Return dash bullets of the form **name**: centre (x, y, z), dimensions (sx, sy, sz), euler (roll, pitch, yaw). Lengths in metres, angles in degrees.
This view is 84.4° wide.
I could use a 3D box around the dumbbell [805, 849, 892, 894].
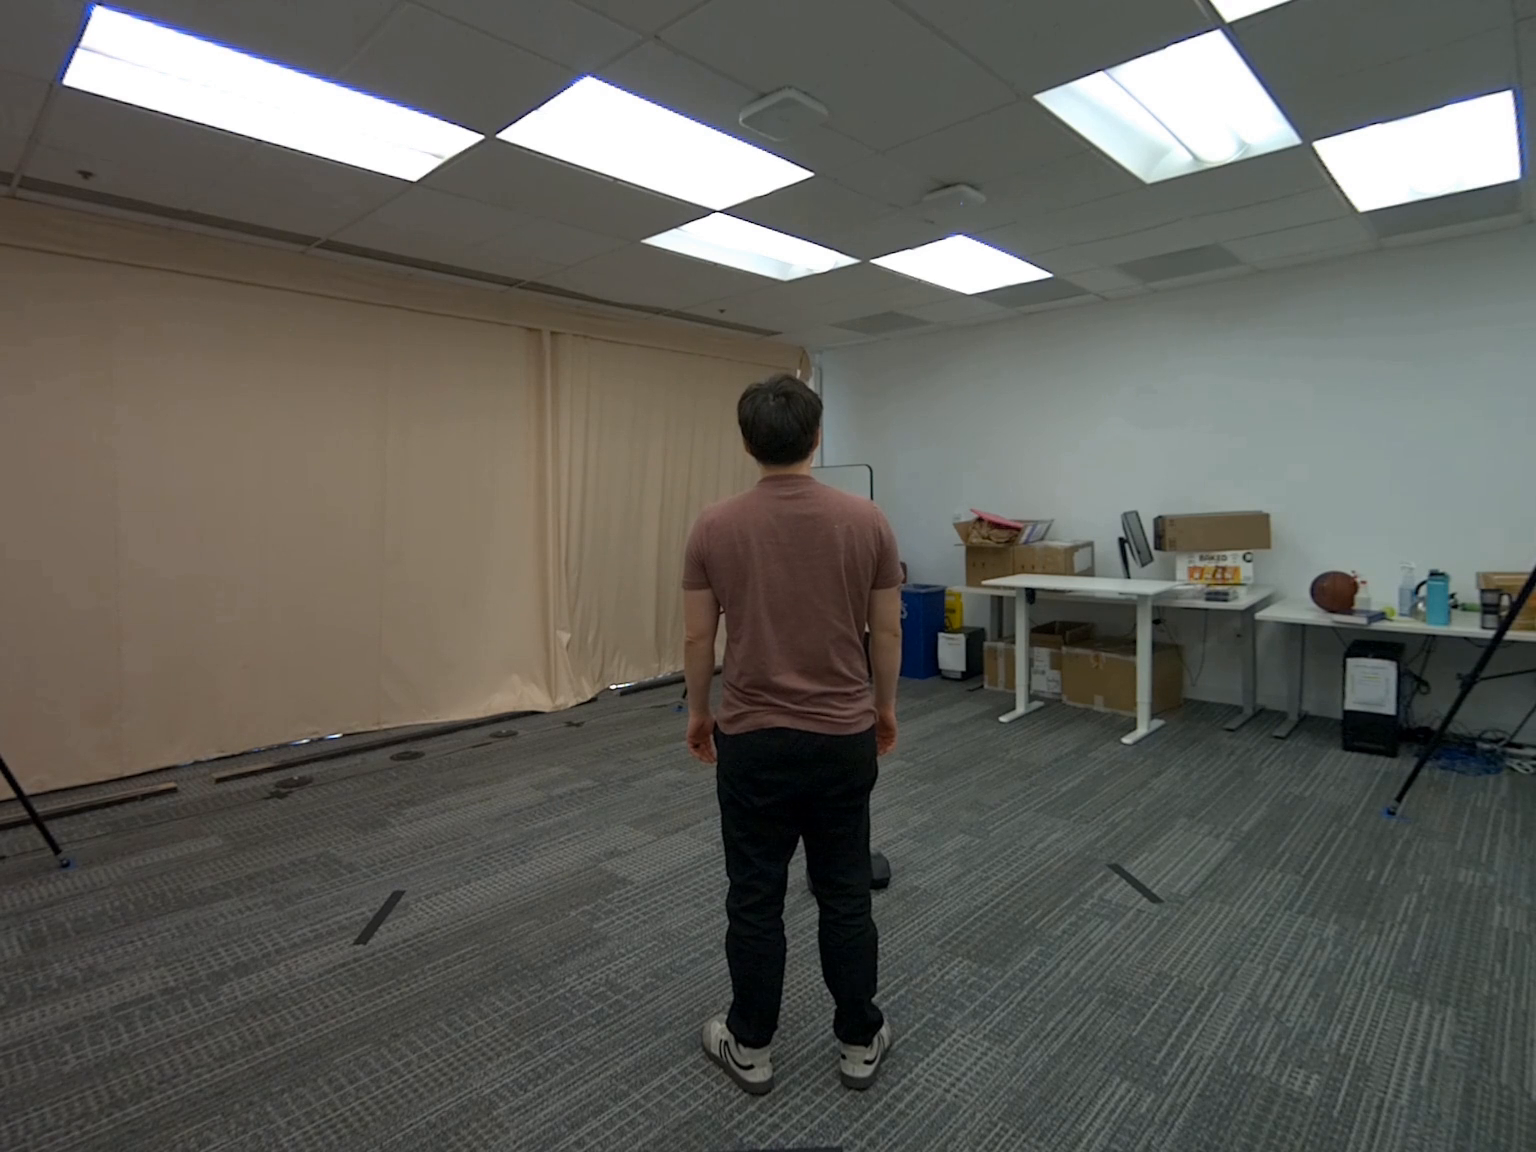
- **dumbbell**: centre (0.295, 1.078, 3.037), dimensions (0.291, 0.121, 0.111), euler (-2, 34, -9)
